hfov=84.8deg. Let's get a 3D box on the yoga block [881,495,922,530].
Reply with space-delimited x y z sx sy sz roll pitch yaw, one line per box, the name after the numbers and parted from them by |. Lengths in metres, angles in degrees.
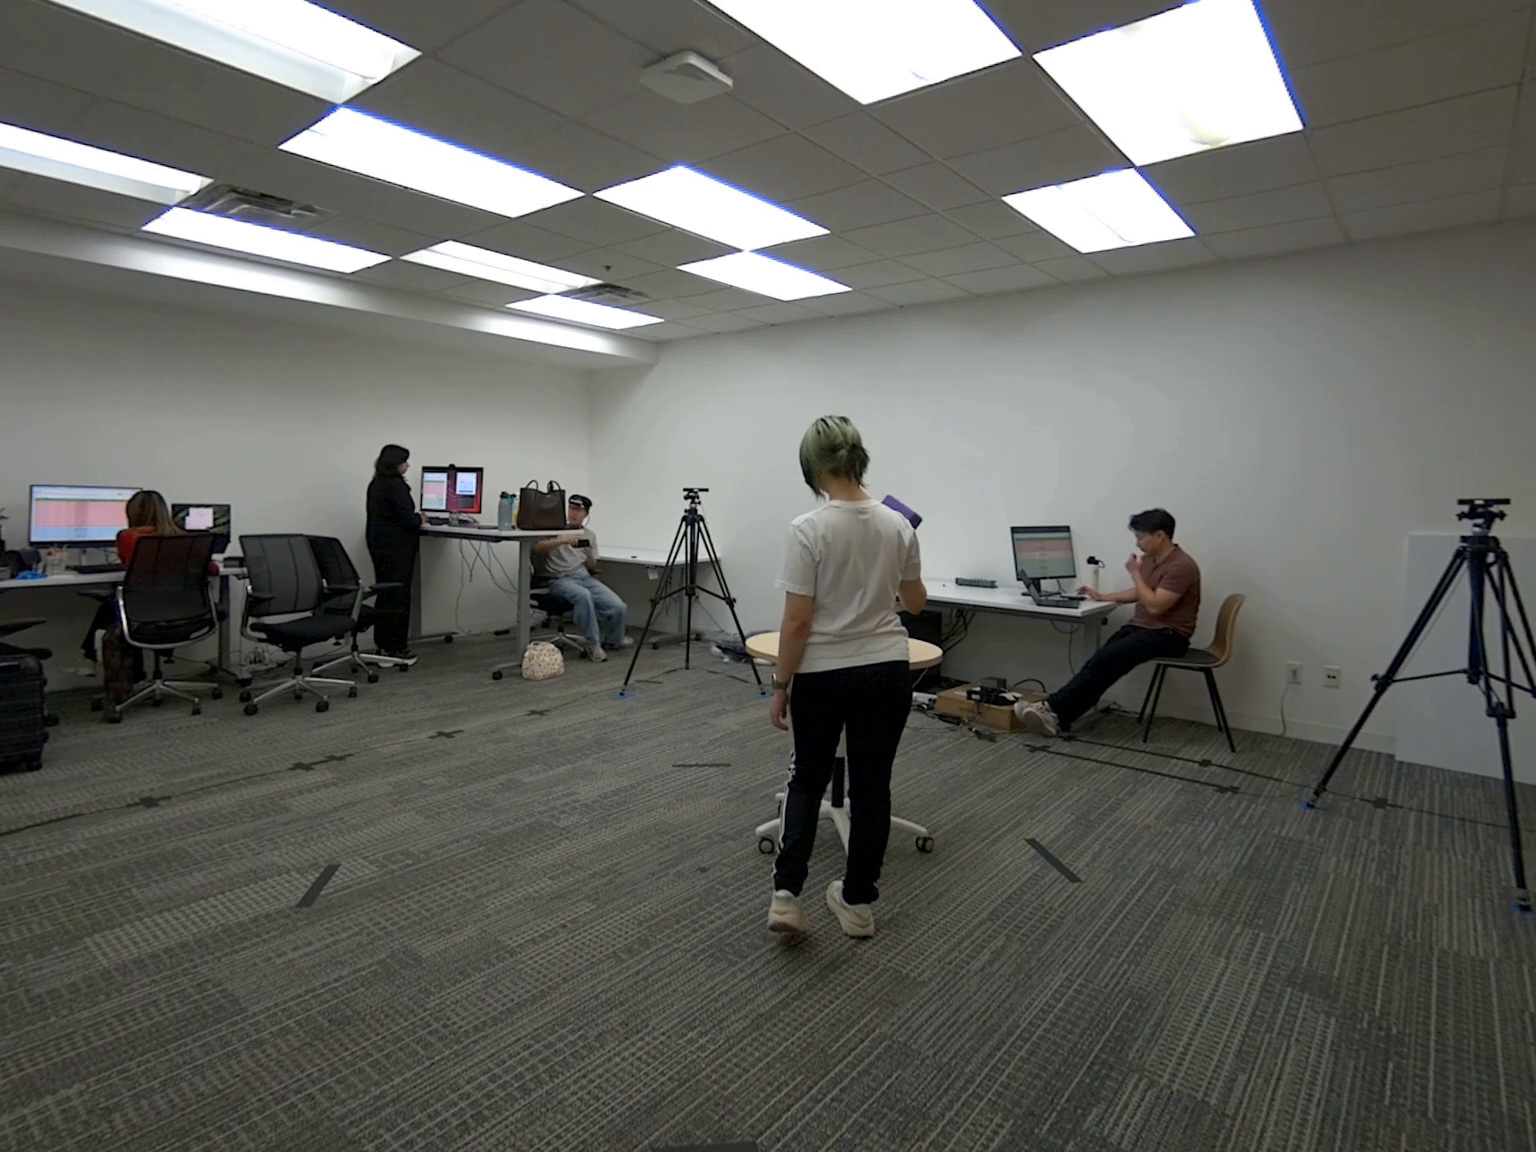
0.421 -0.161 3.072 0.155 0.229 0.073 42 8 36 | yoga block
